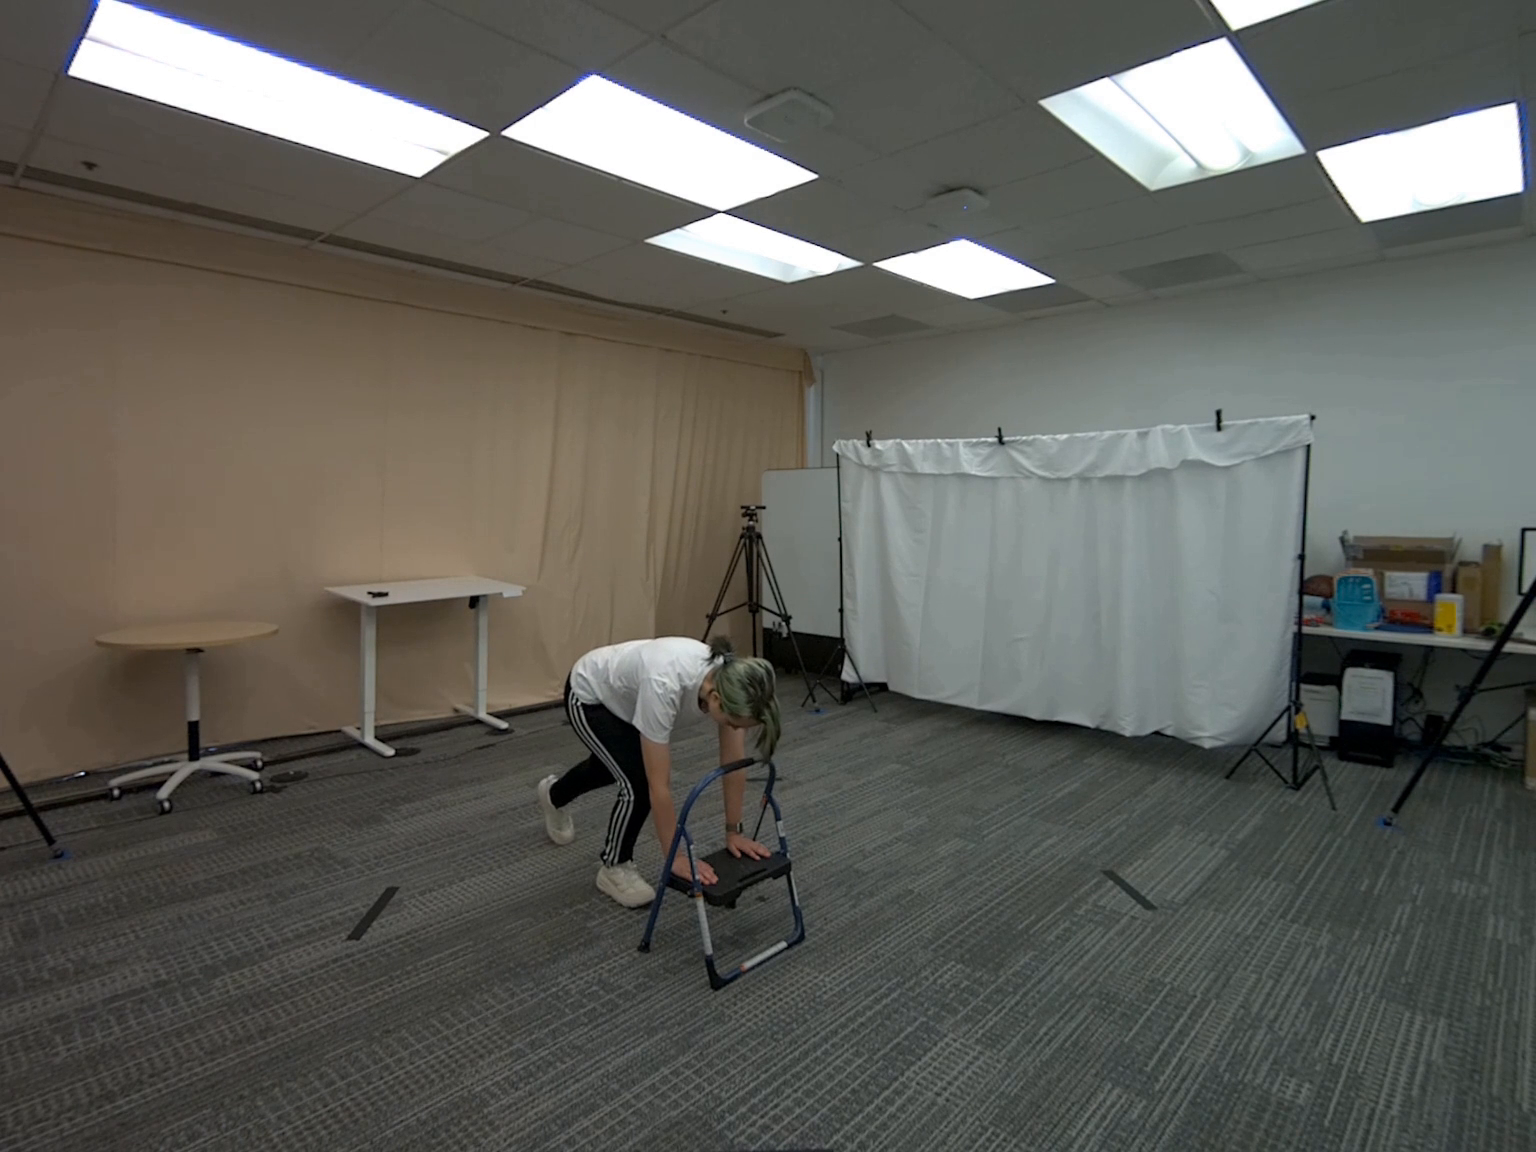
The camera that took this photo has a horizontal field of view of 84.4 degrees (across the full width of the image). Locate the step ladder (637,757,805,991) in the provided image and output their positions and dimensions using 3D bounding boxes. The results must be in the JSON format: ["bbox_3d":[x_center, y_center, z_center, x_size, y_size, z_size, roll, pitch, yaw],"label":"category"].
[{"bbox_3d":[-0.139,0.869,2.660,0.361,0.605,0.417,3,4,42],"label":"step ladder"}]
